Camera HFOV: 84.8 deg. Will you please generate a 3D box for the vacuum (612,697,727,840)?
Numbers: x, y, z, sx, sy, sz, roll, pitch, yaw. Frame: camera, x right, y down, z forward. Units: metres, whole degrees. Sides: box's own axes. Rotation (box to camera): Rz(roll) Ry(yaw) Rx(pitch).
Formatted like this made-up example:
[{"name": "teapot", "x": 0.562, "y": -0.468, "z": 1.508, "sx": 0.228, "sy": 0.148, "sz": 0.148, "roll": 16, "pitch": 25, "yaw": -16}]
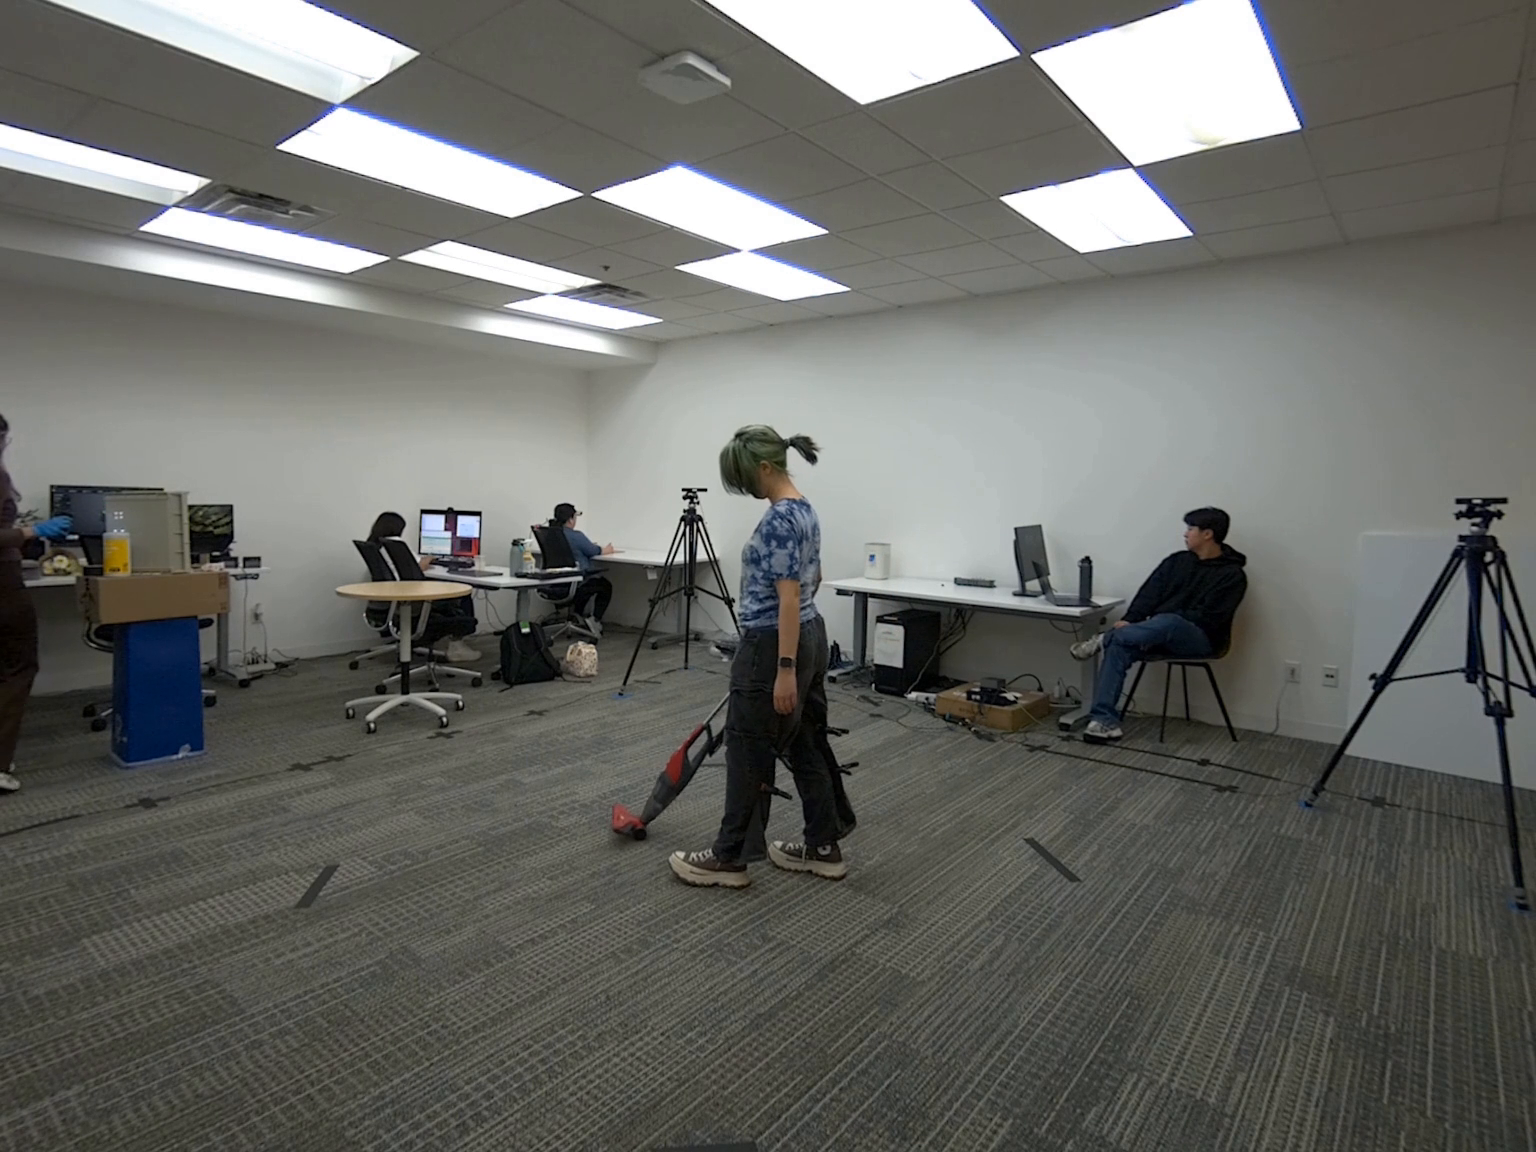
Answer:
[{"name": "vacuum", "x": -0.235, "y": 0.624, "z": 3.422, "sx": 0.143, "sy": 1.049, "sz": 0.255, "roll": 43, "pitch": -2, "yaw": -7}]
